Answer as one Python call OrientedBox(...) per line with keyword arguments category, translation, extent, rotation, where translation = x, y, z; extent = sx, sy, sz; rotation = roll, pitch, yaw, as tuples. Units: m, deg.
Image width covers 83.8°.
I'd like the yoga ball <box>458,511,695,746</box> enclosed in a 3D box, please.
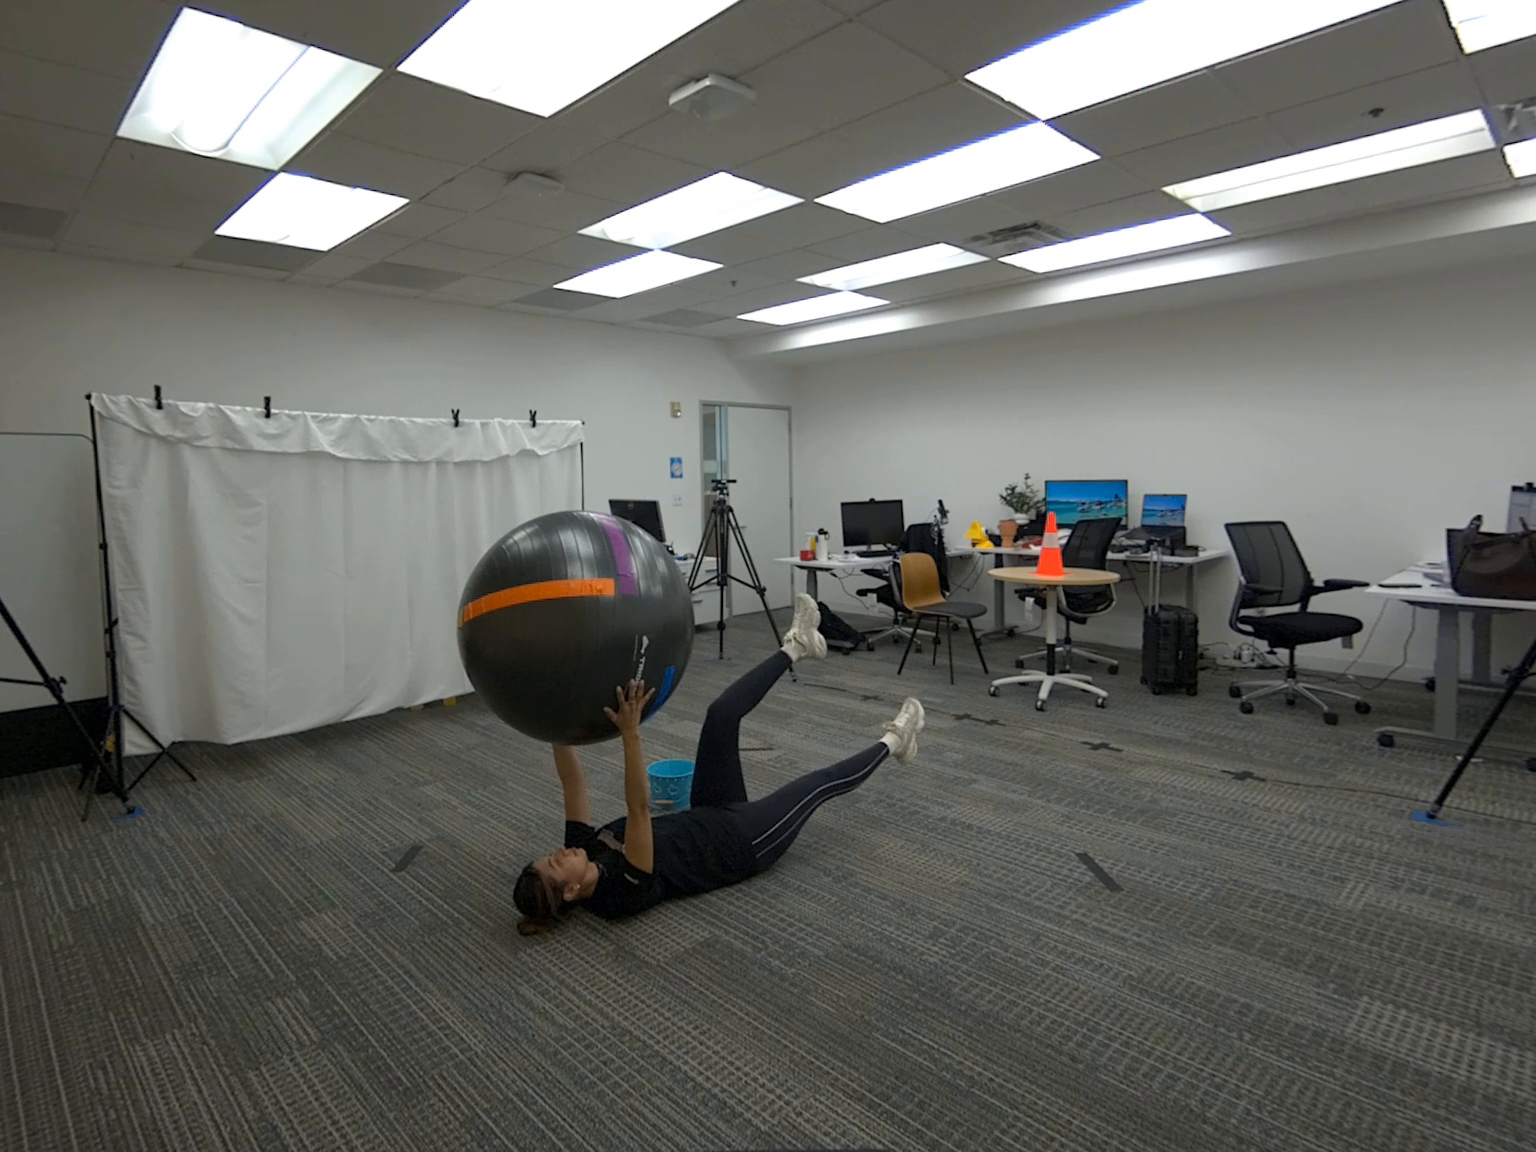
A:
OrientedBox(category="yoga ball", translation=(-0.617, 0.167, 2.787), extent=(0.757, 0.757, 0.759), rotation=(0, 1, -2))
